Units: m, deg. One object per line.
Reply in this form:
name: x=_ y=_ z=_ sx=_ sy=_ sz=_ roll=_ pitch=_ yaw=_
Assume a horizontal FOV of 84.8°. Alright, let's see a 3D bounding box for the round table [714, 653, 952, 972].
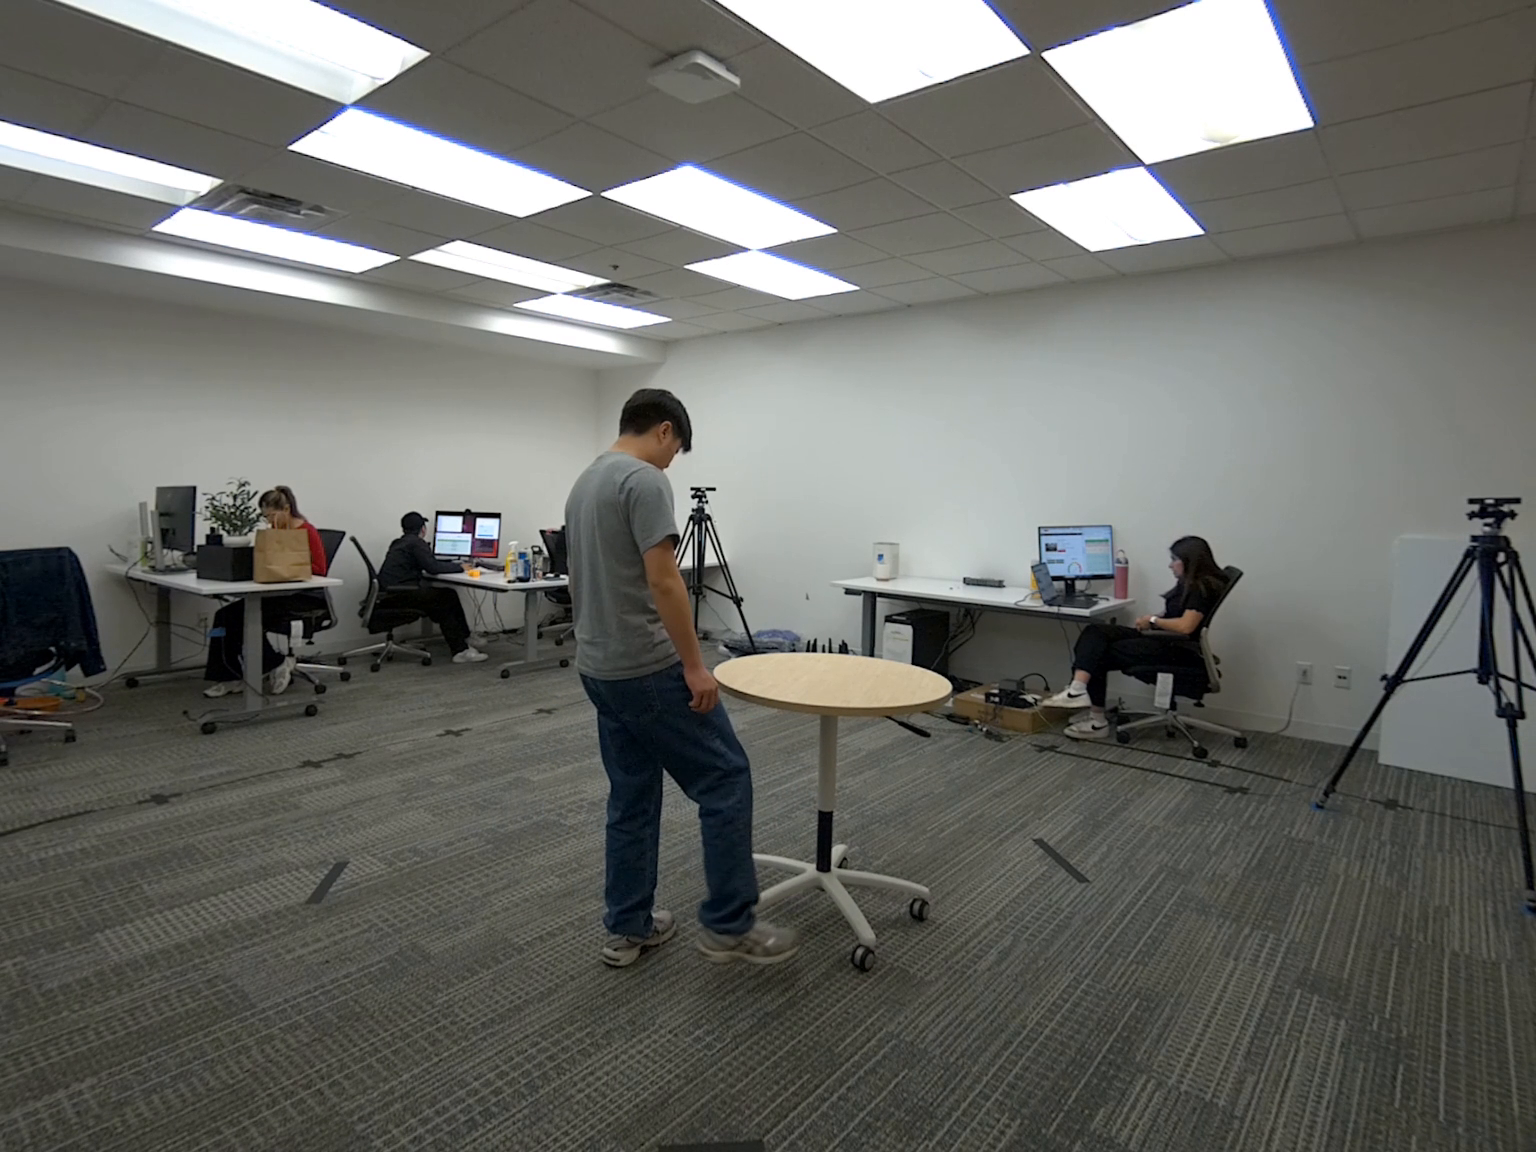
round table: x=0.181 y=0.717 z=2.787 sx=0.763 sy=0.791 sz=0.768 roll=2 pitch=4 yaw=-2
